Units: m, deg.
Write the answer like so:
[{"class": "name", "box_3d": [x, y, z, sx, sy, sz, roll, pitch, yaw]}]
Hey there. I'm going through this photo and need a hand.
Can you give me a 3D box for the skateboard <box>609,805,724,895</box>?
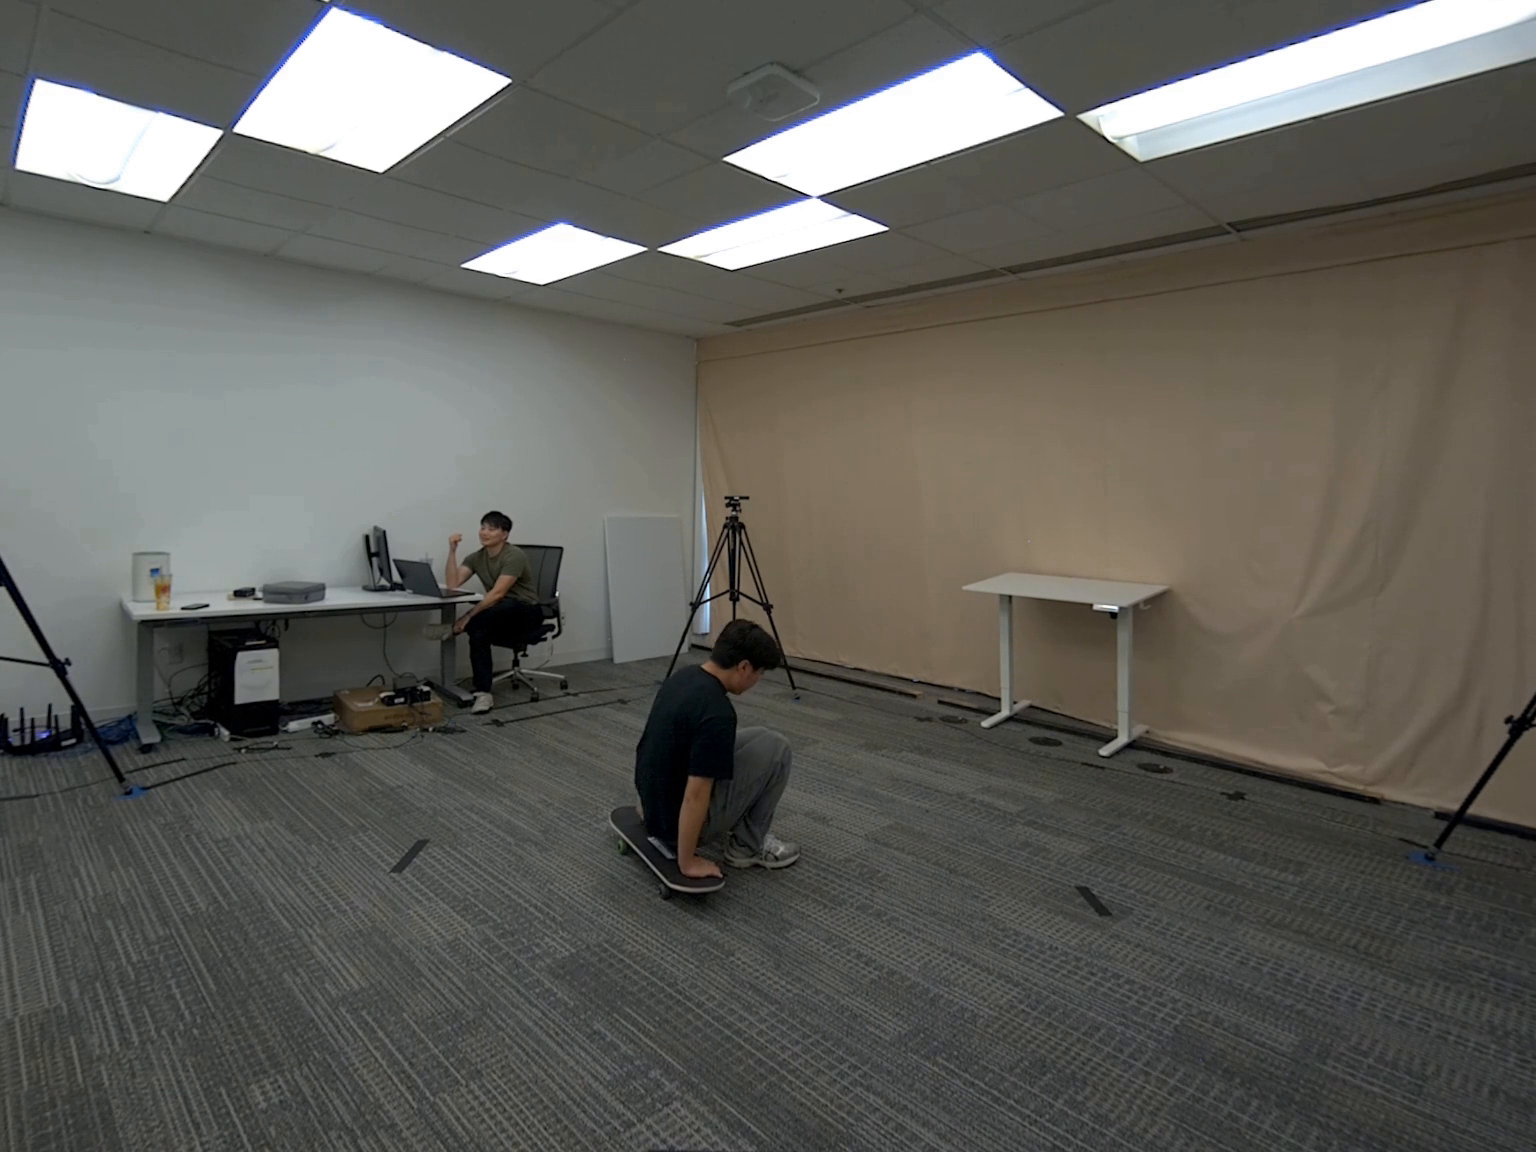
[{"class": "skateboard", "box_3d": [-0.397, 1.031, 3.134, 0.189, 0.110, 0.804, 1, 5, -29]}]
